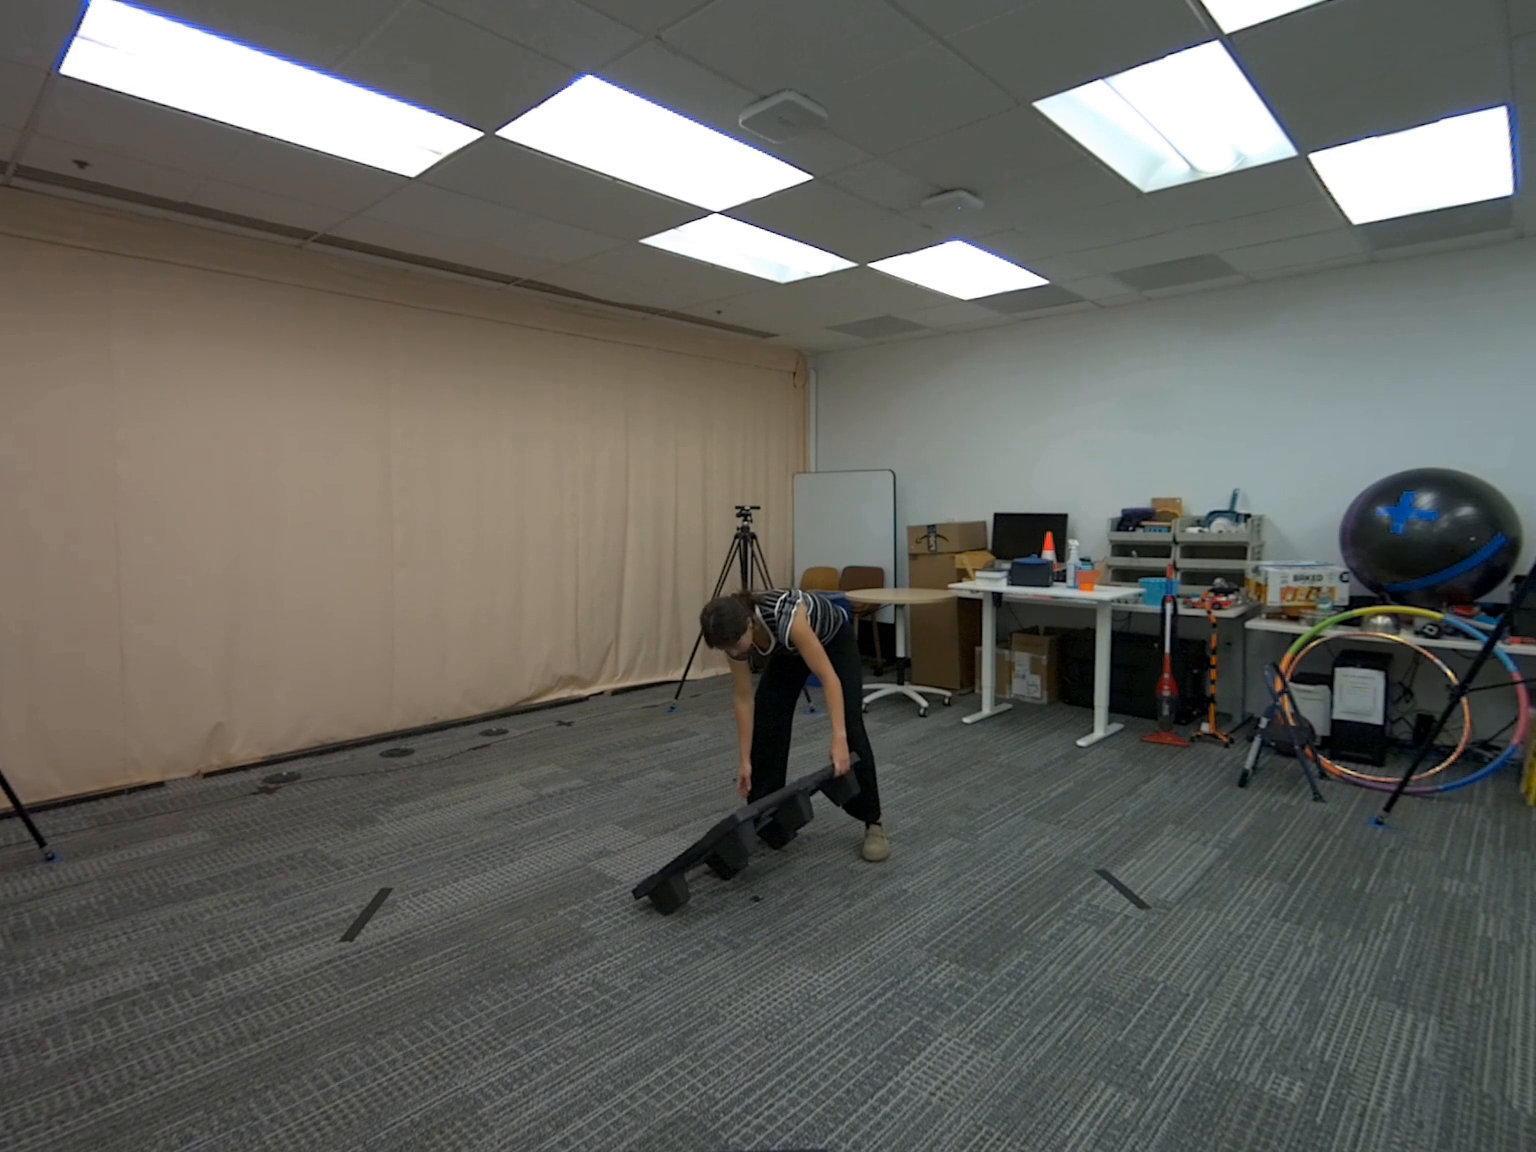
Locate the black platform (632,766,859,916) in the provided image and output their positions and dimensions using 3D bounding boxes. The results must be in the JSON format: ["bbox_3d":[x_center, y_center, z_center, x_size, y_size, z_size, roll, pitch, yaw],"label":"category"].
[{"bbox_3d":[-0.029,0.932,3.054,0.610,0.146,0.782,-43,-20,31],"label":"black platform"}]
